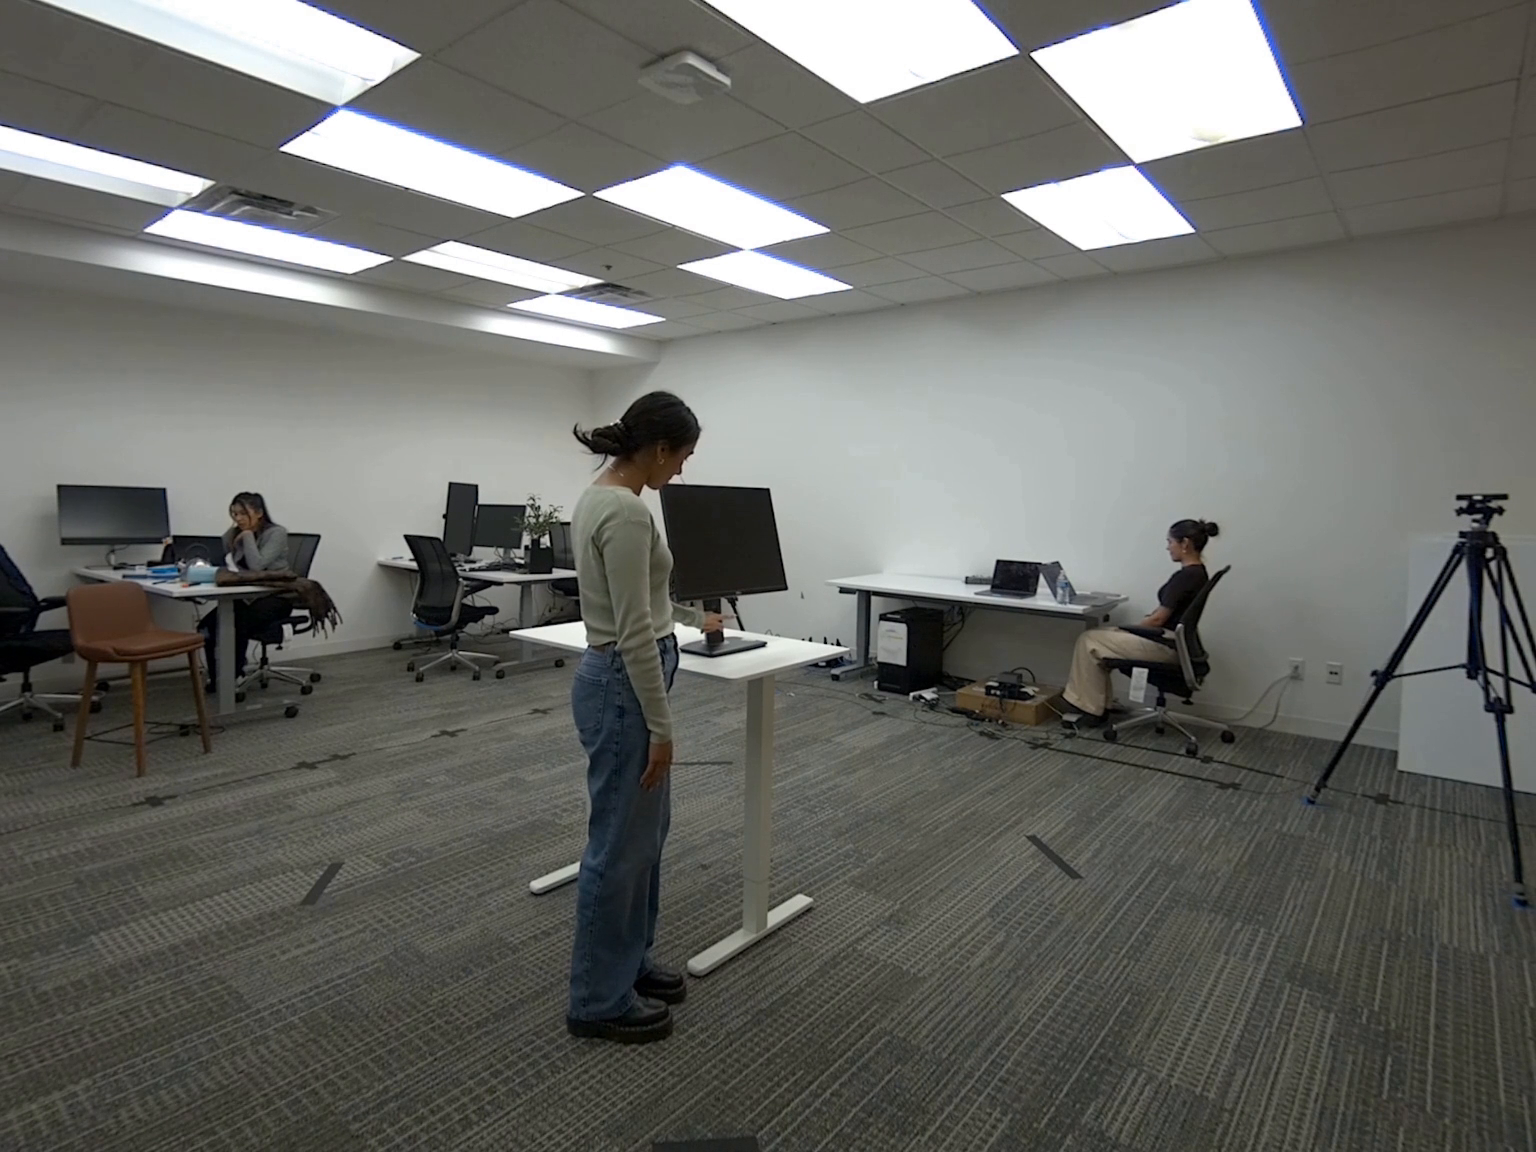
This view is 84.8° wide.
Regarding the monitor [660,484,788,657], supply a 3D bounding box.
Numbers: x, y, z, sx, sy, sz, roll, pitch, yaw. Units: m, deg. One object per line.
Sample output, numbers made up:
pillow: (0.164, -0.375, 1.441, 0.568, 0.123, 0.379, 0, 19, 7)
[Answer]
monitor: (-0.158, -0.024, 2.686, 0.193, 0.522, 0.523, 1, 2, 36)
